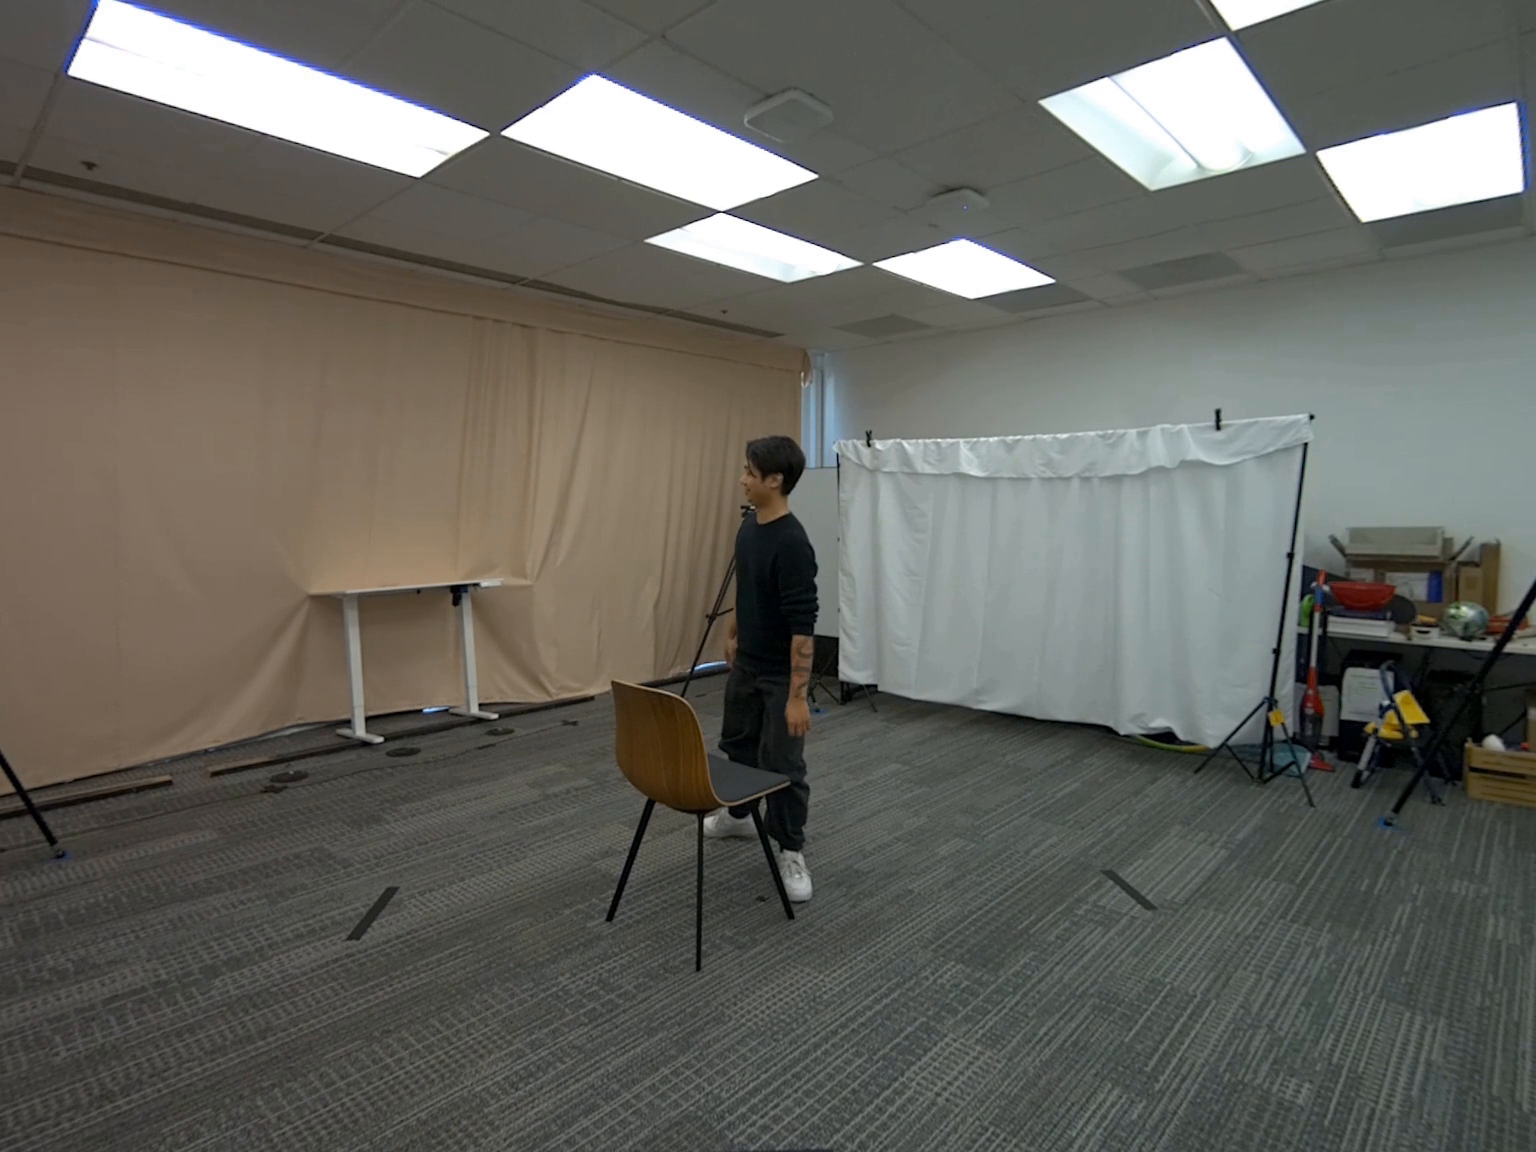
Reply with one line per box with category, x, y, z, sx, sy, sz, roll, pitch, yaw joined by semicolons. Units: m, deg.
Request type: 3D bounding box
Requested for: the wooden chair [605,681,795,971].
wooden chair;-0.227;0.733;2.809;0.494;0.874;0.508;2;8;43
